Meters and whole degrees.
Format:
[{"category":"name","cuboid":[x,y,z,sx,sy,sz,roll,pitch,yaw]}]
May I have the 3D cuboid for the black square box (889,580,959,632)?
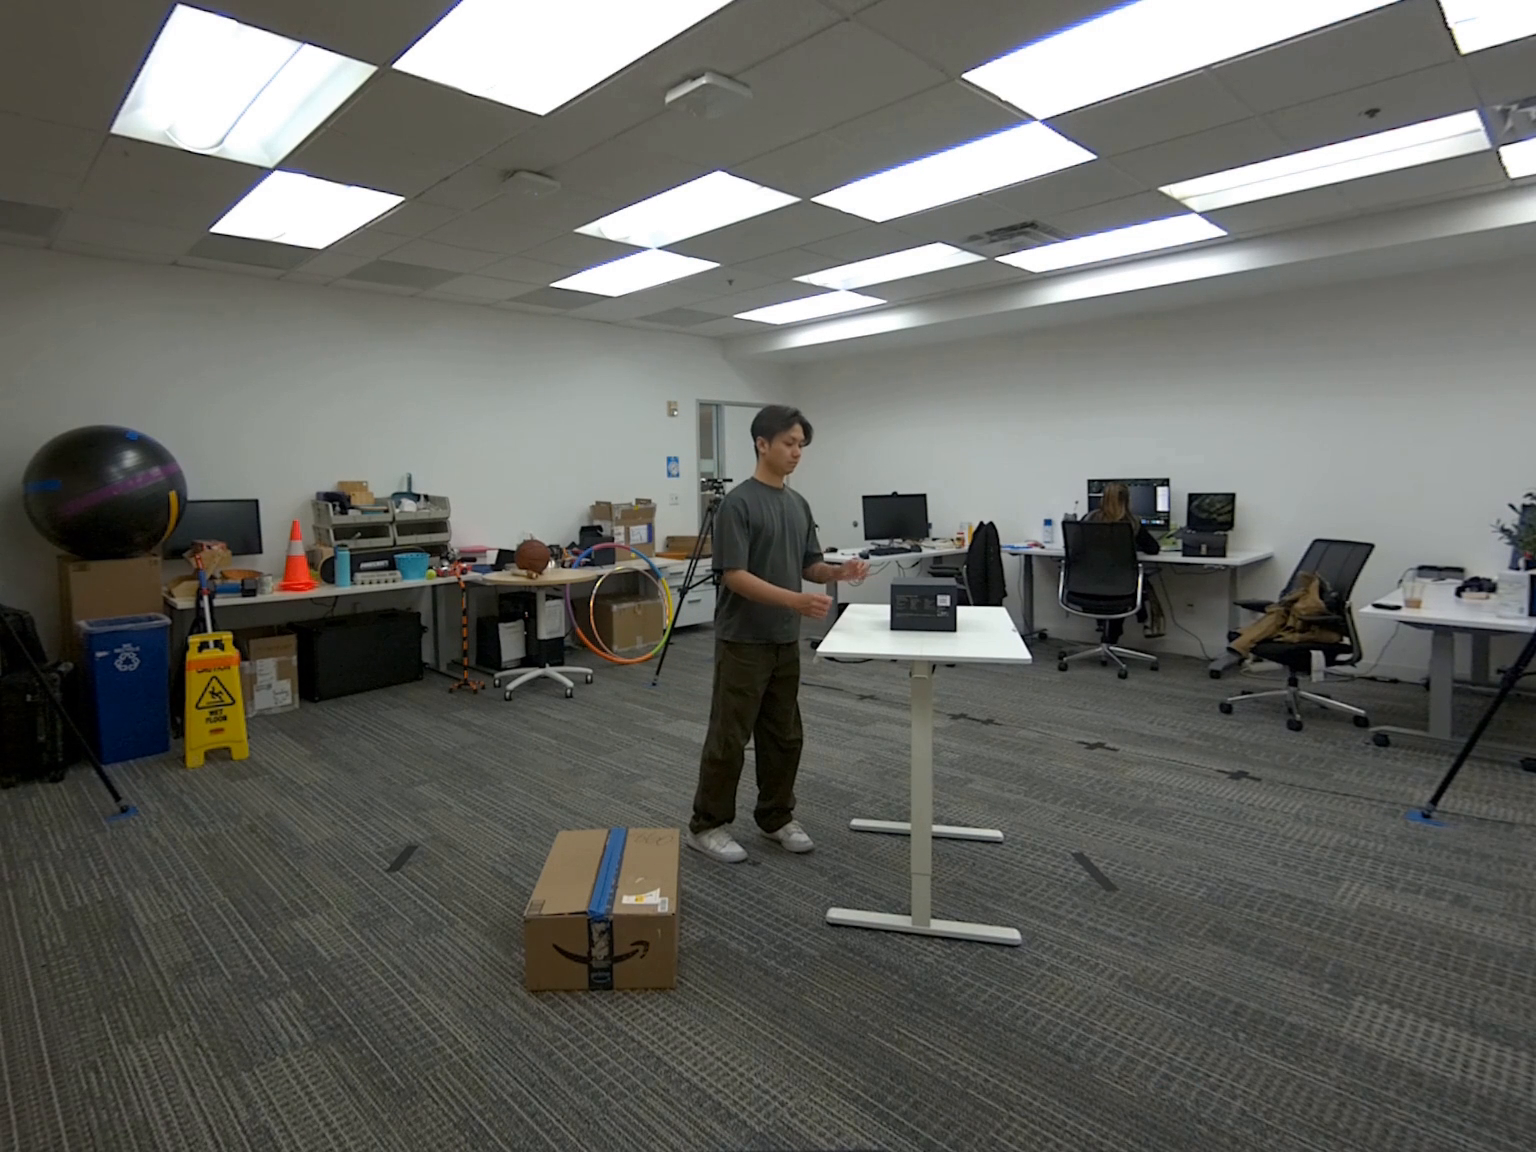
[{"category":"black square box","cuboid":[0.537,0.091,2.927,0.220,0.155,0.225,1,4,13]}]
